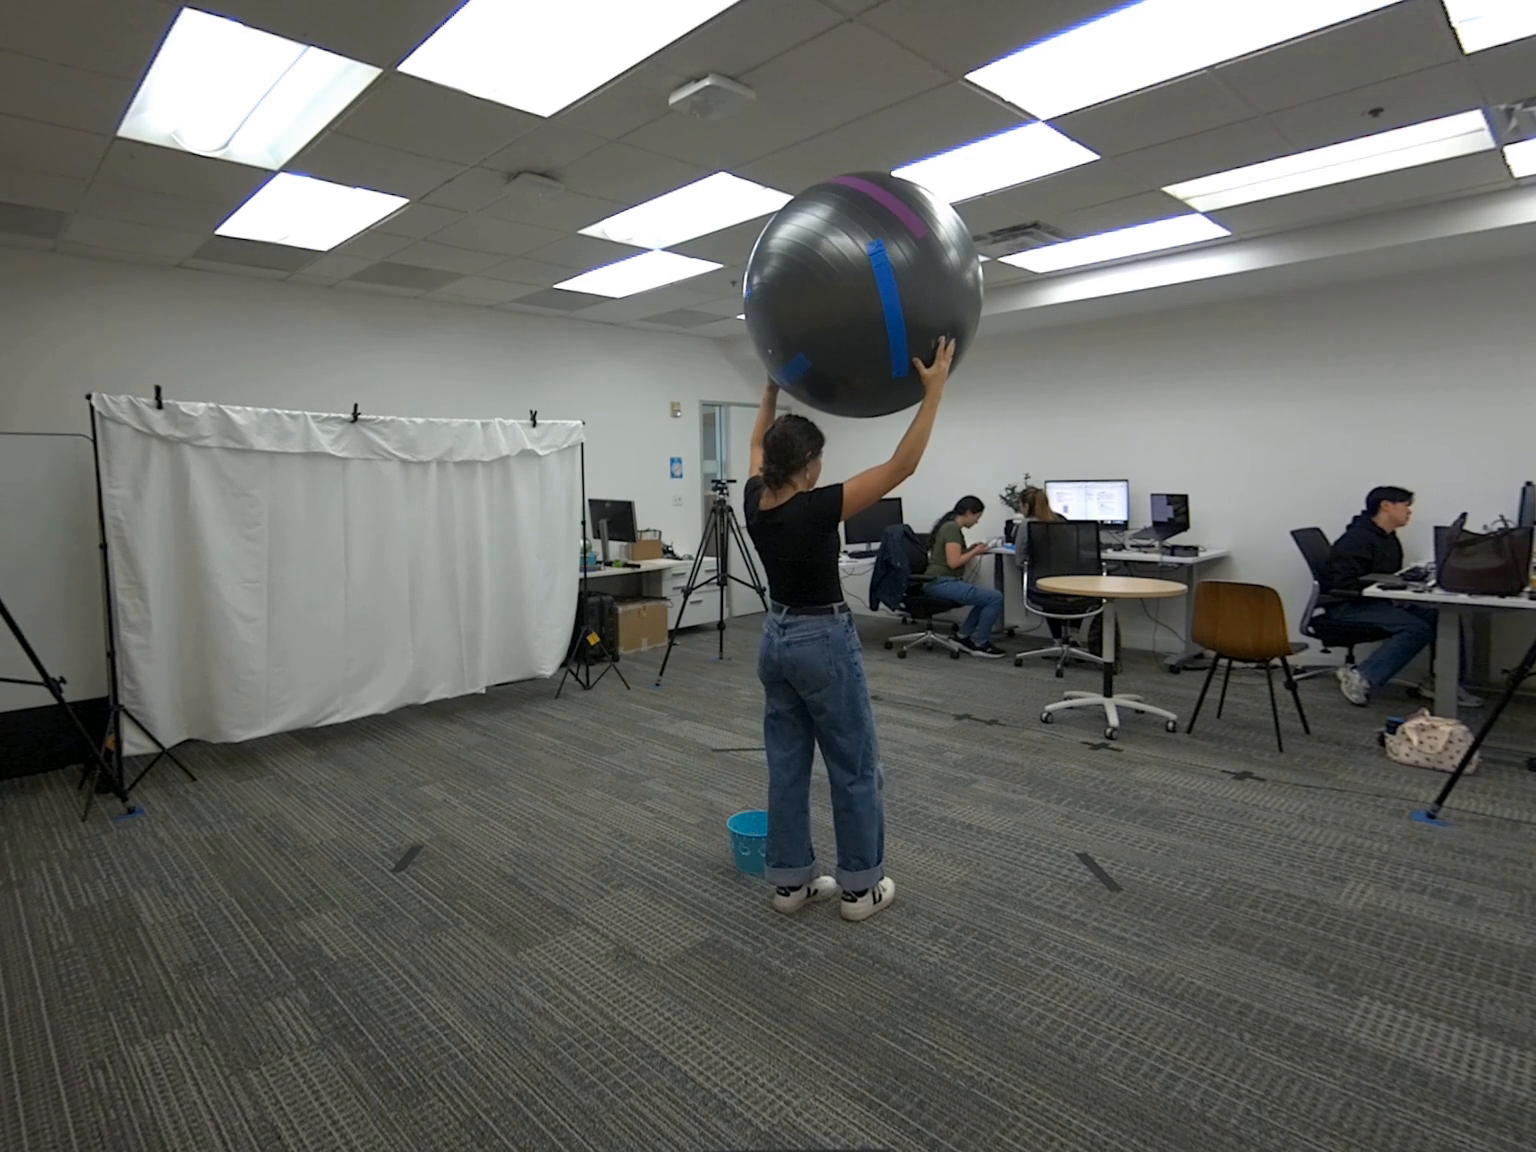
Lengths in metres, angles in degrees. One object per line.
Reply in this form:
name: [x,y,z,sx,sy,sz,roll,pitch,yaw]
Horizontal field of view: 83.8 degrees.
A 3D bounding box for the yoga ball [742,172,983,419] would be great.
yoga ball: [0.303,-0.889,2.750,0.757,0.755,0.762,-1,5,-2]
